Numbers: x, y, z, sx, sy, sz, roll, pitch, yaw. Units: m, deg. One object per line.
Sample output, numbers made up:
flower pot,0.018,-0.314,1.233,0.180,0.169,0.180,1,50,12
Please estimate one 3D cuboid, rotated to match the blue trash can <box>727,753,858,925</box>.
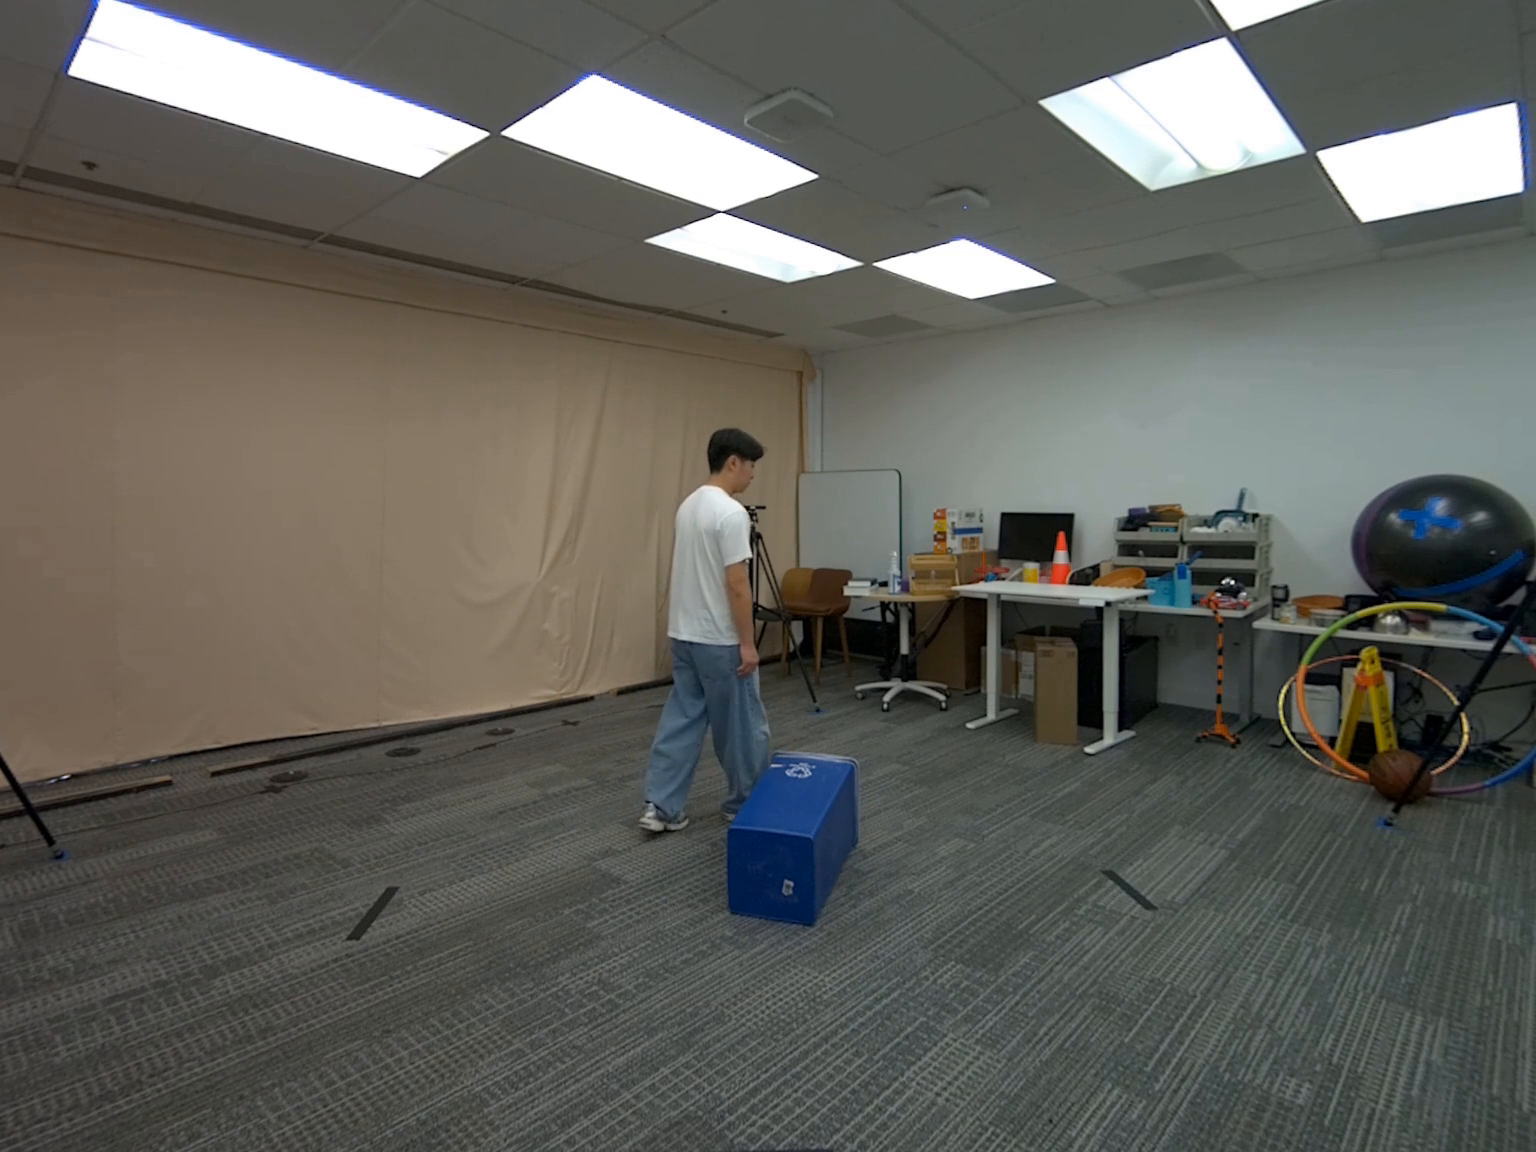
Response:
blue trash can,0.117,0.957,3.142,0.380,0.376,0.704,1,7,15
